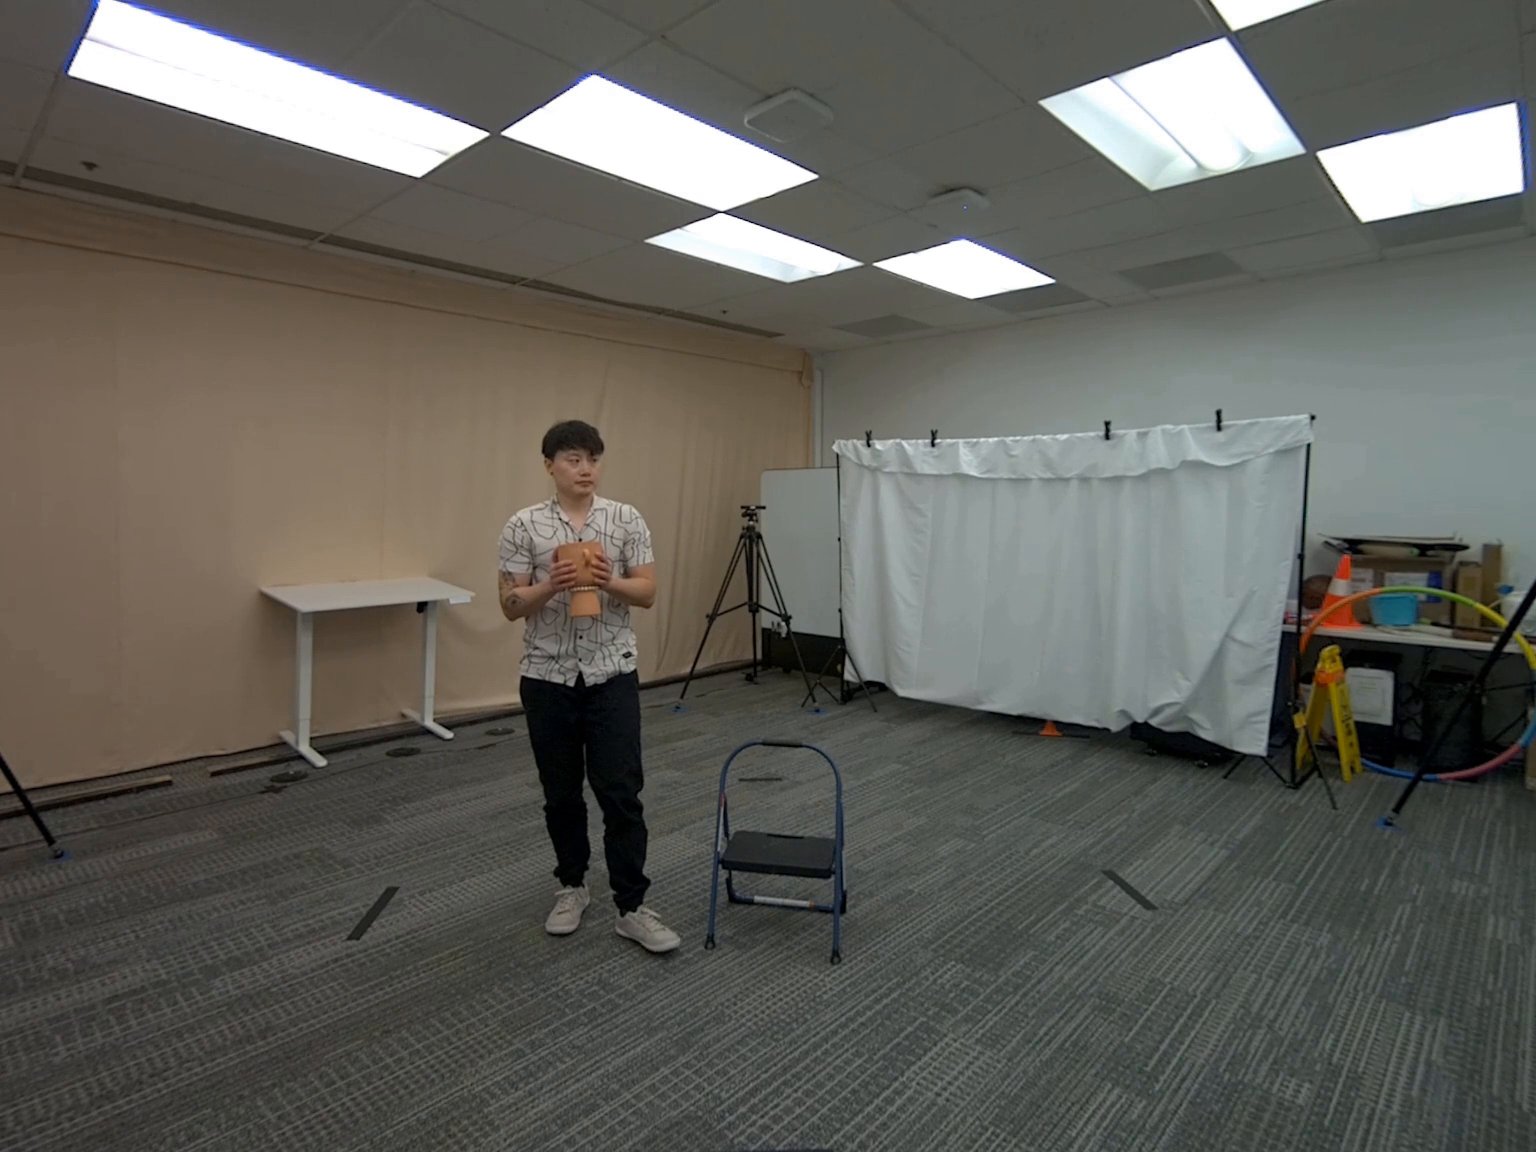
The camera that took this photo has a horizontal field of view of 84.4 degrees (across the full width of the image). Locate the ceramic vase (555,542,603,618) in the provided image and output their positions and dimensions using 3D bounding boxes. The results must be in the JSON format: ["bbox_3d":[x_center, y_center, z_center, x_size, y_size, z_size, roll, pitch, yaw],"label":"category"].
[{"bbox_3d":[-0.561,0.011,2.563,0.137,0.220,0.156,-8,-4,16],"label":"ceramic vase"}]
